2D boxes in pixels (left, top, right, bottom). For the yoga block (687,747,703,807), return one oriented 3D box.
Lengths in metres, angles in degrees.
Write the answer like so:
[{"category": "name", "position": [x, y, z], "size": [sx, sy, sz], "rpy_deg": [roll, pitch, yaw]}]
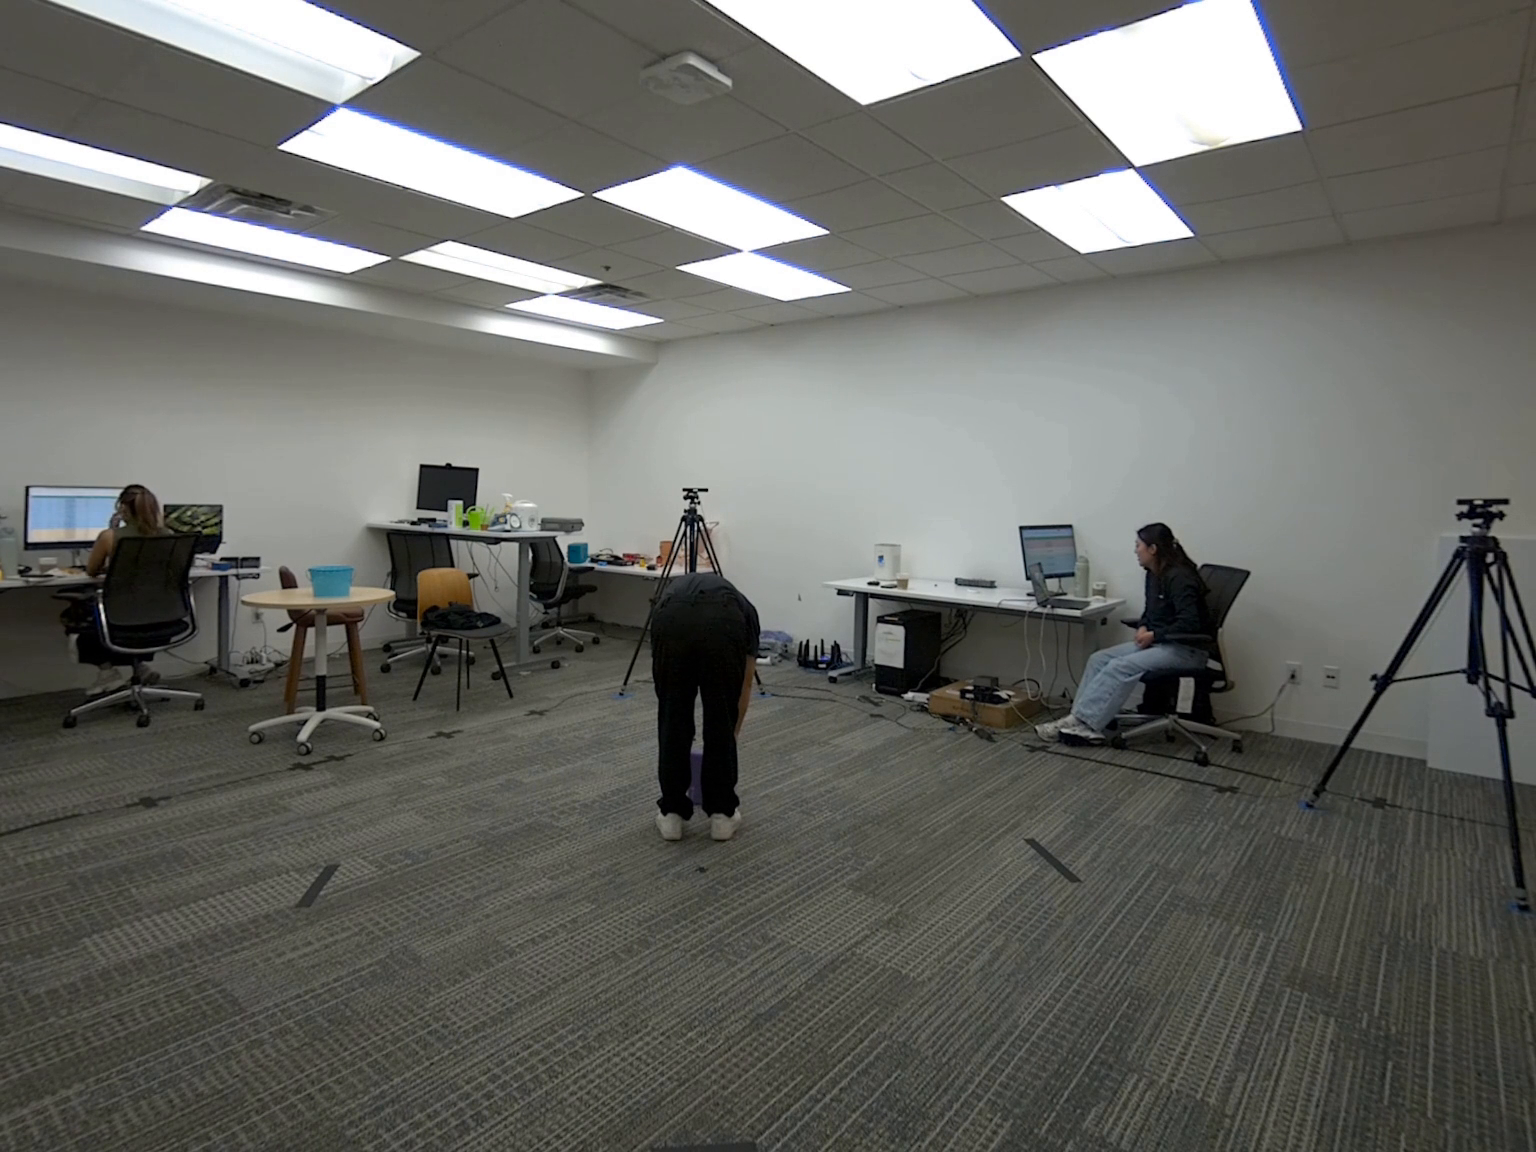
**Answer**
[{"category": "yoga block", "position": [-0.287, 0.886, 3.761], "size": [0.150, 0.229, 0.076], "rpy_deg": [2, 2, 4]}]
